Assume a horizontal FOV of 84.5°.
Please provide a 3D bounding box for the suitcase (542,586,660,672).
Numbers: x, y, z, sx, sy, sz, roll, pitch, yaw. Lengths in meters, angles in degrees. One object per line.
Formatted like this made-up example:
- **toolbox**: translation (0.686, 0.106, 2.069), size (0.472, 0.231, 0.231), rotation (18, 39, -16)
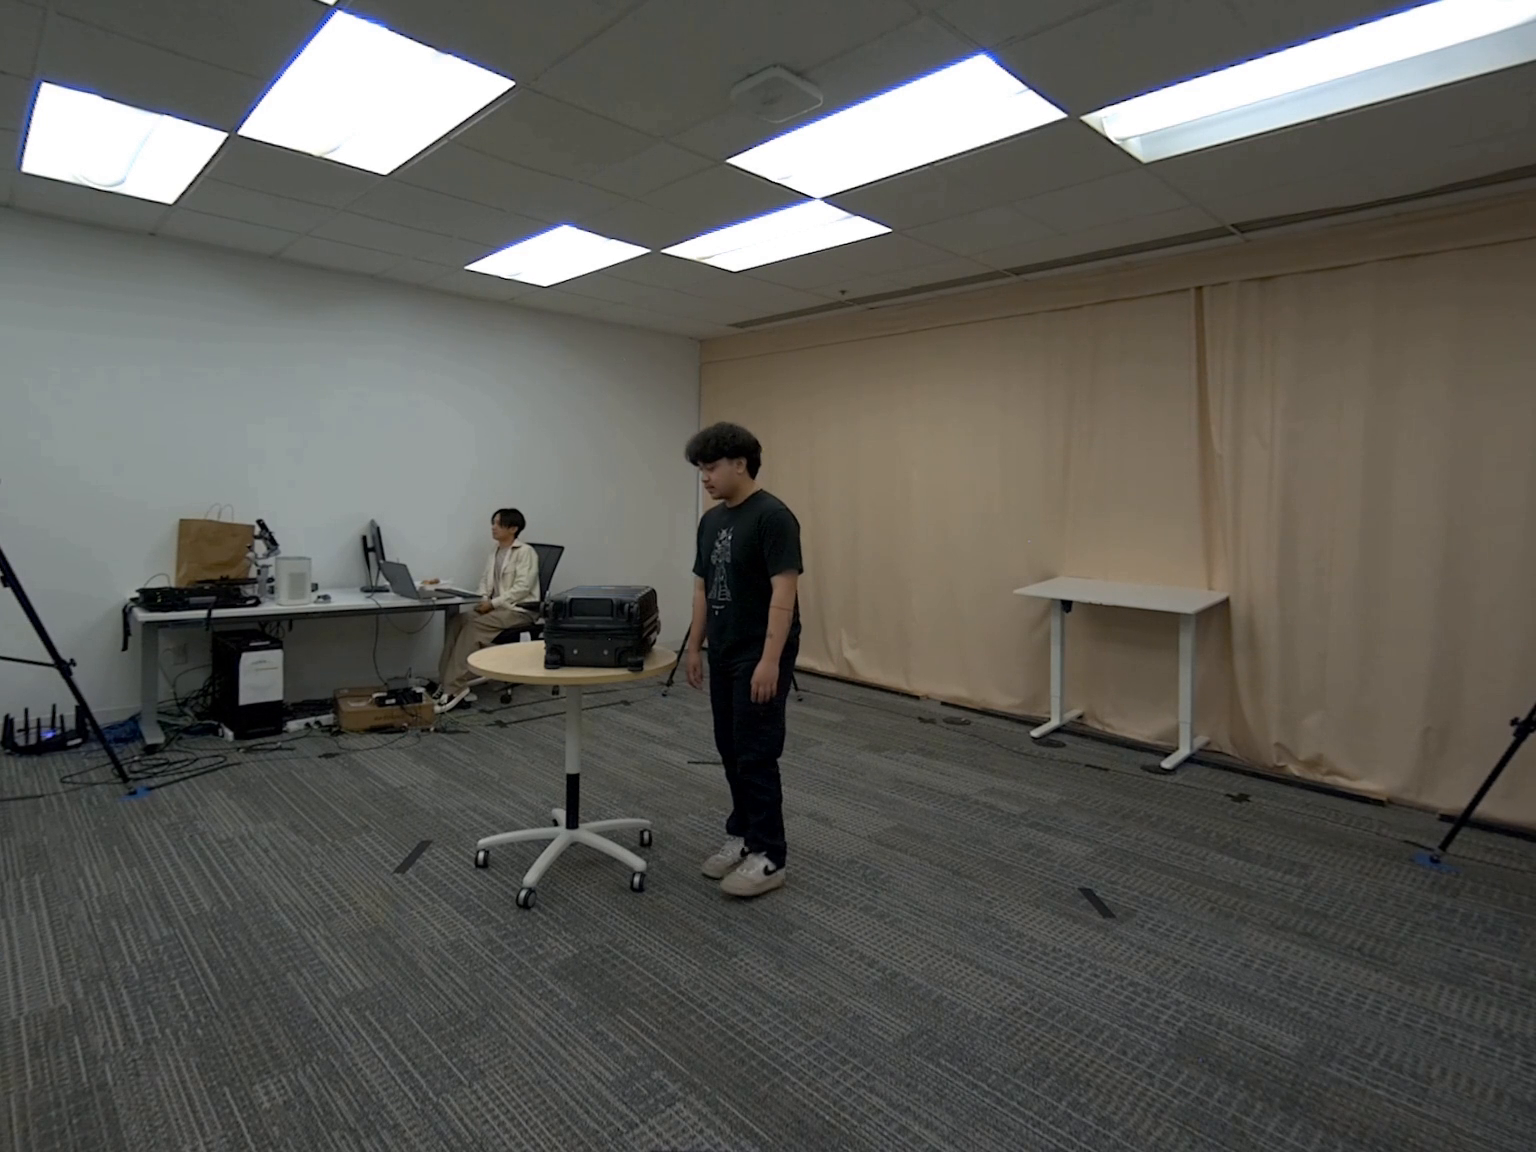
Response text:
- **suitcase**: translation (-0.618, 0.181, 3.129), size (0.376, 0.248, 0.549), rotation (-1, 4, 2)
